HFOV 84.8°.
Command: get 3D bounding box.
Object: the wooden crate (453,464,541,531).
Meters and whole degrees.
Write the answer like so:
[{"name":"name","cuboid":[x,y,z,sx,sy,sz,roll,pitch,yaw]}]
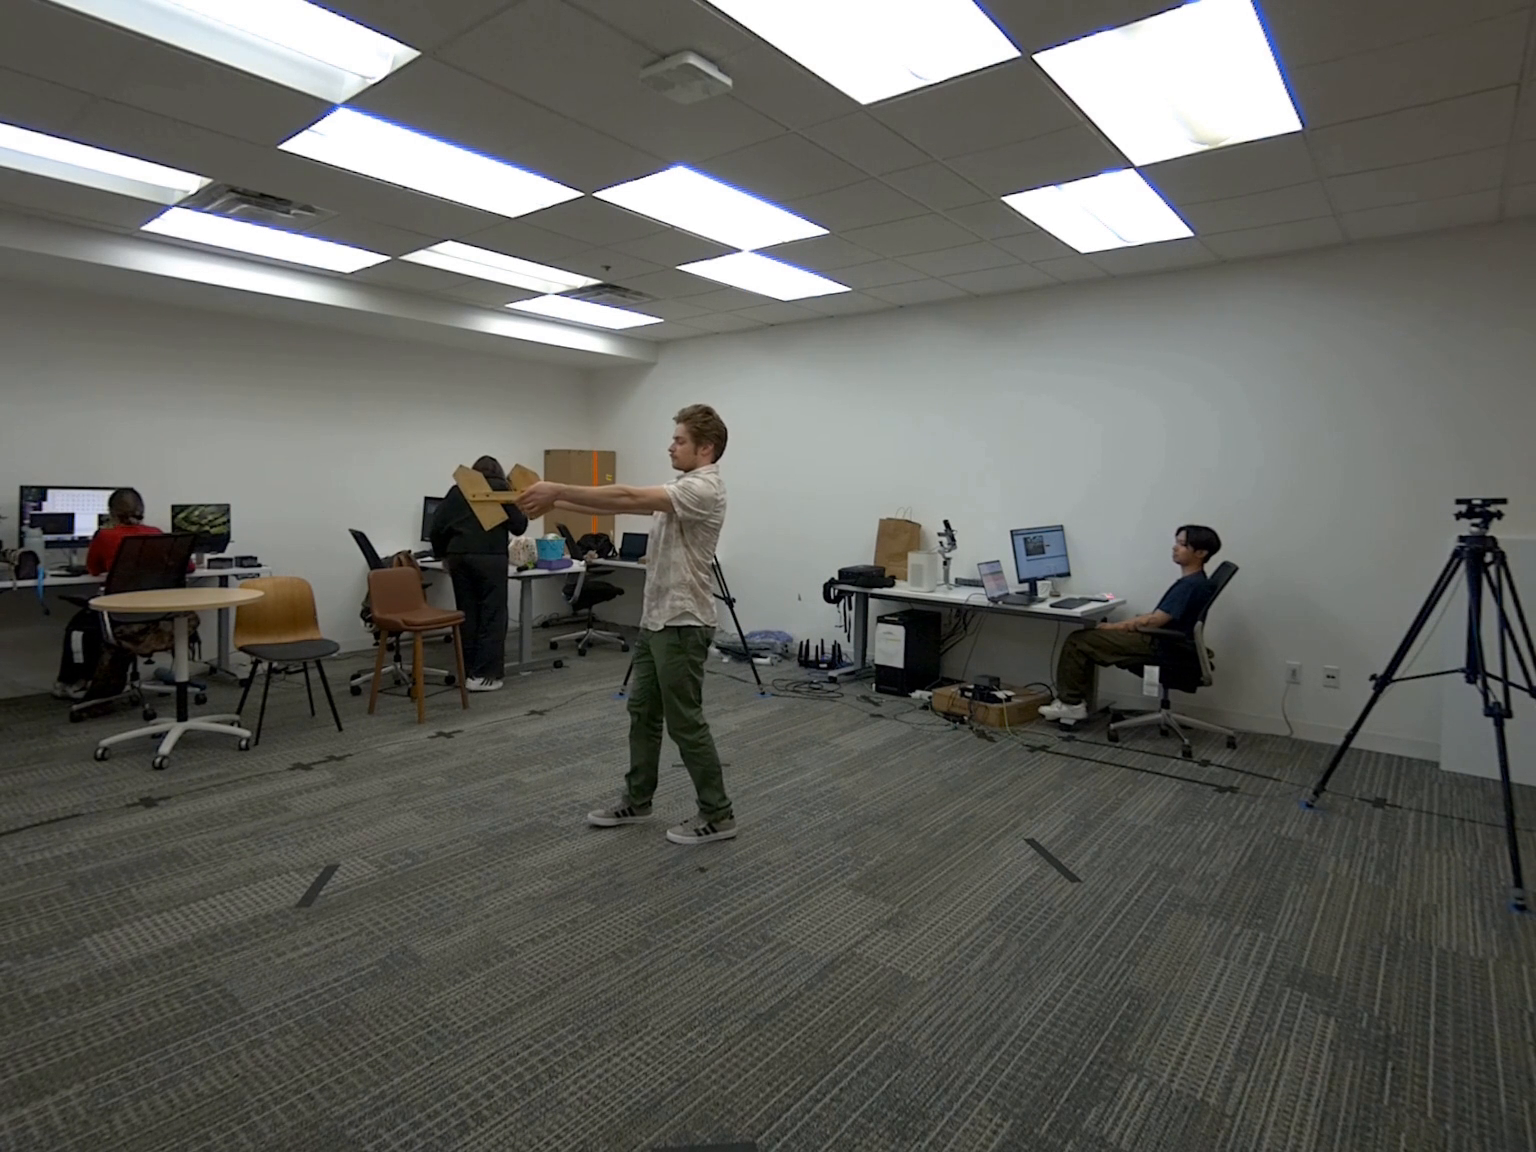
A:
[{"name":"wooden crate","cuboid":[-1.015,-0.331,3.215,0.272,0.298,0.331,-31,12,-13]}]
